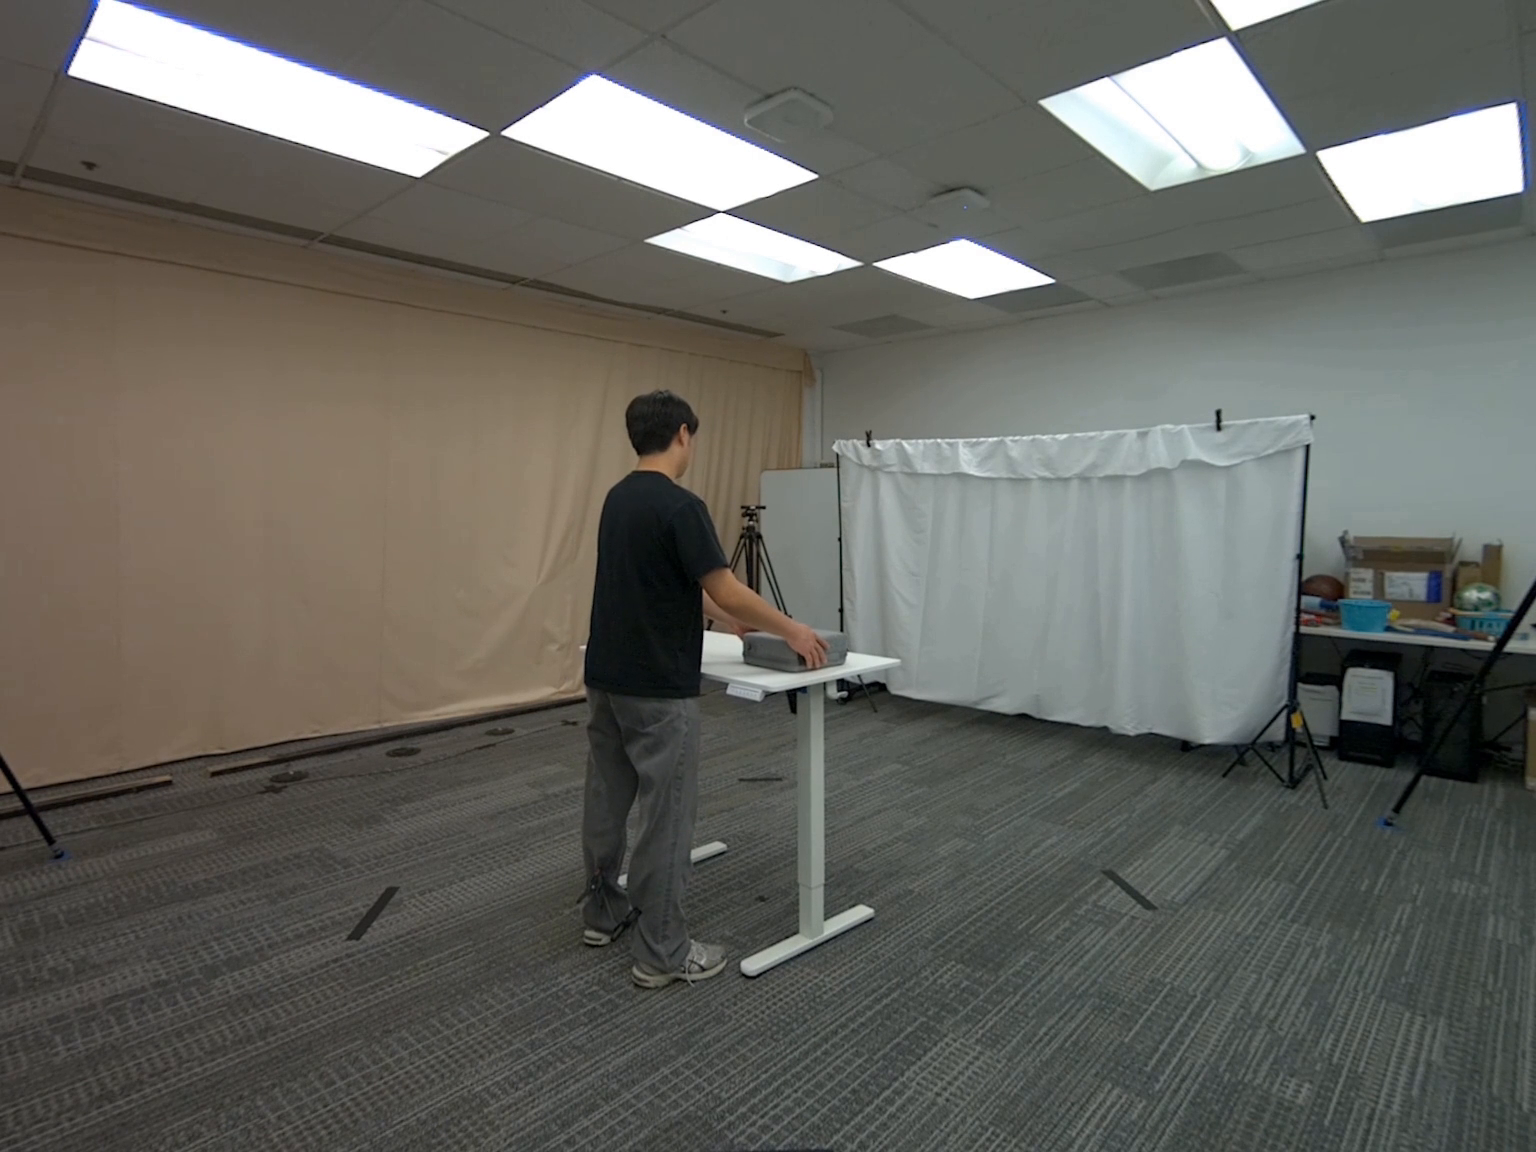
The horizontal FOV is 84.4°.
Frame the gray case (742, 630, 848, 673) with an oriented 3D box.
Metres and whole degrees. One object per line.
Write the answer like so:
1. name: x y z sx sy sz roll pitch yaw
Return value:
1. gray case: 0.080 0.230 2.703 0.255 0.103 0.297 -4 6 -40
